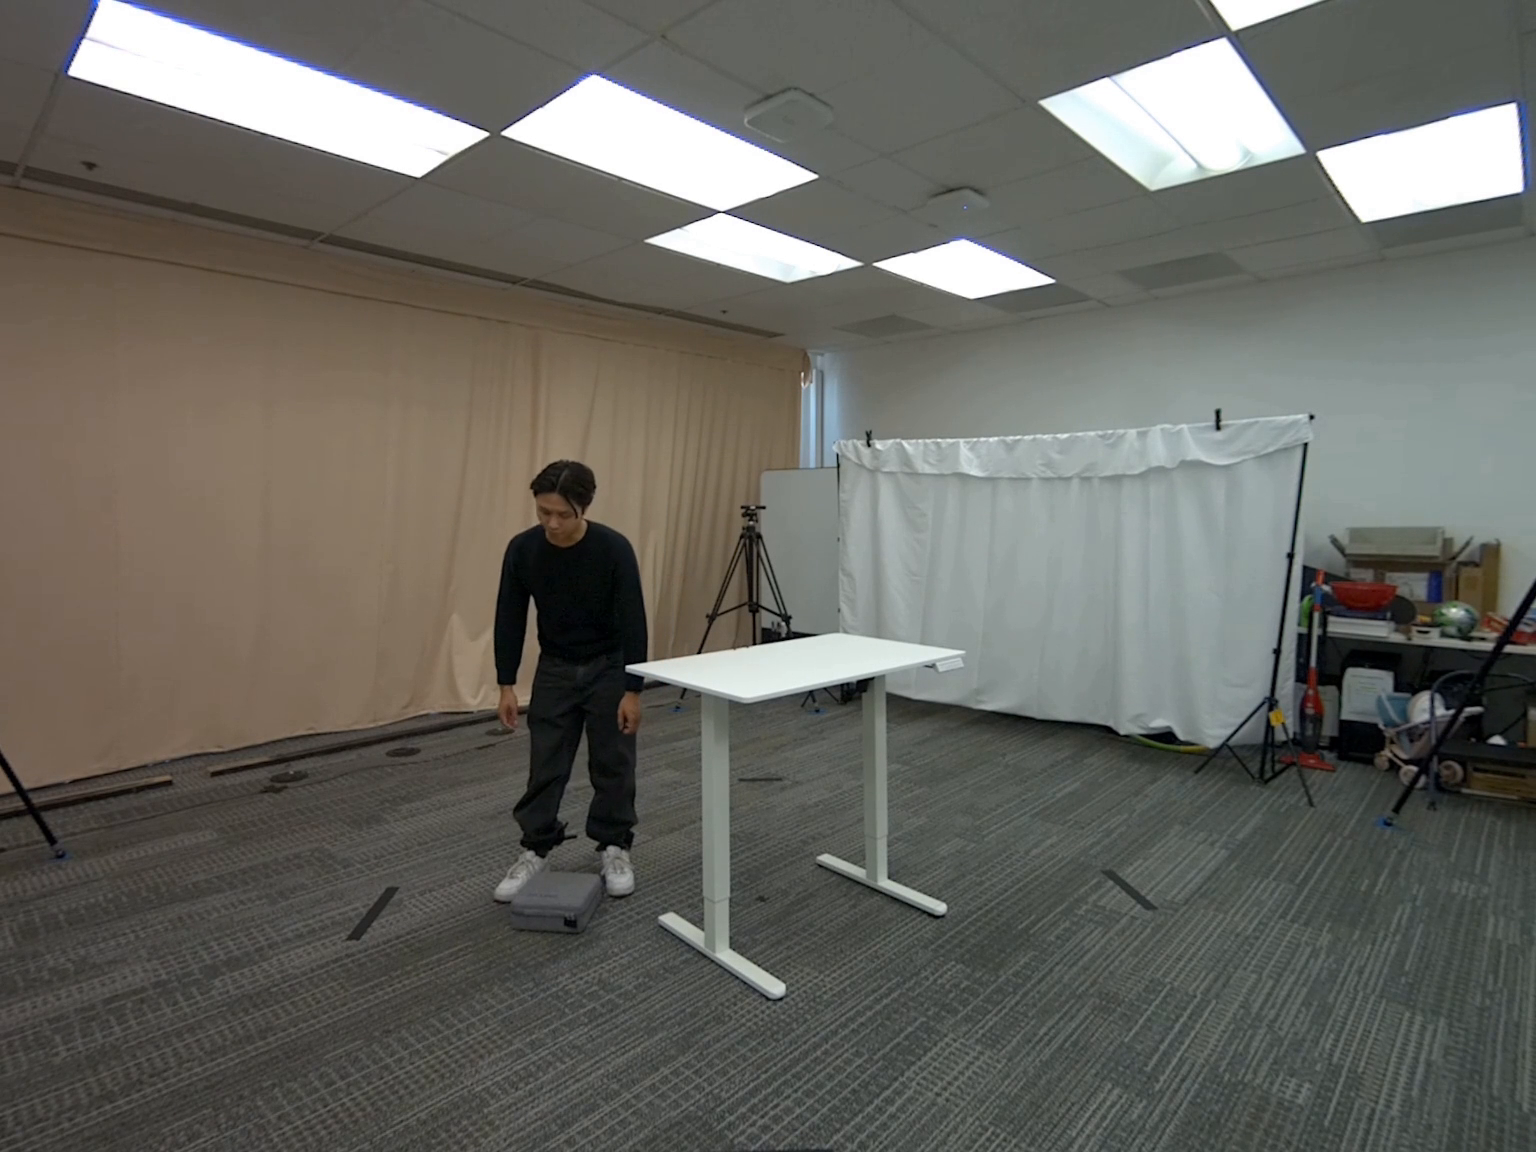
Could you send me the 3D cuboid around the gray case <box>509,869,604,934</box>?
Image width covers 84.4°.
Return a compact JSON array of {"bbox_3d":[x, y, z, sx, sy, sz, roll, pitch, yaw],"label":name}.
[{"bbox_3d":[-0.719,1.100,2.870,0.259,0.104,0.259,0,4,6],"label":"gray case"}]
